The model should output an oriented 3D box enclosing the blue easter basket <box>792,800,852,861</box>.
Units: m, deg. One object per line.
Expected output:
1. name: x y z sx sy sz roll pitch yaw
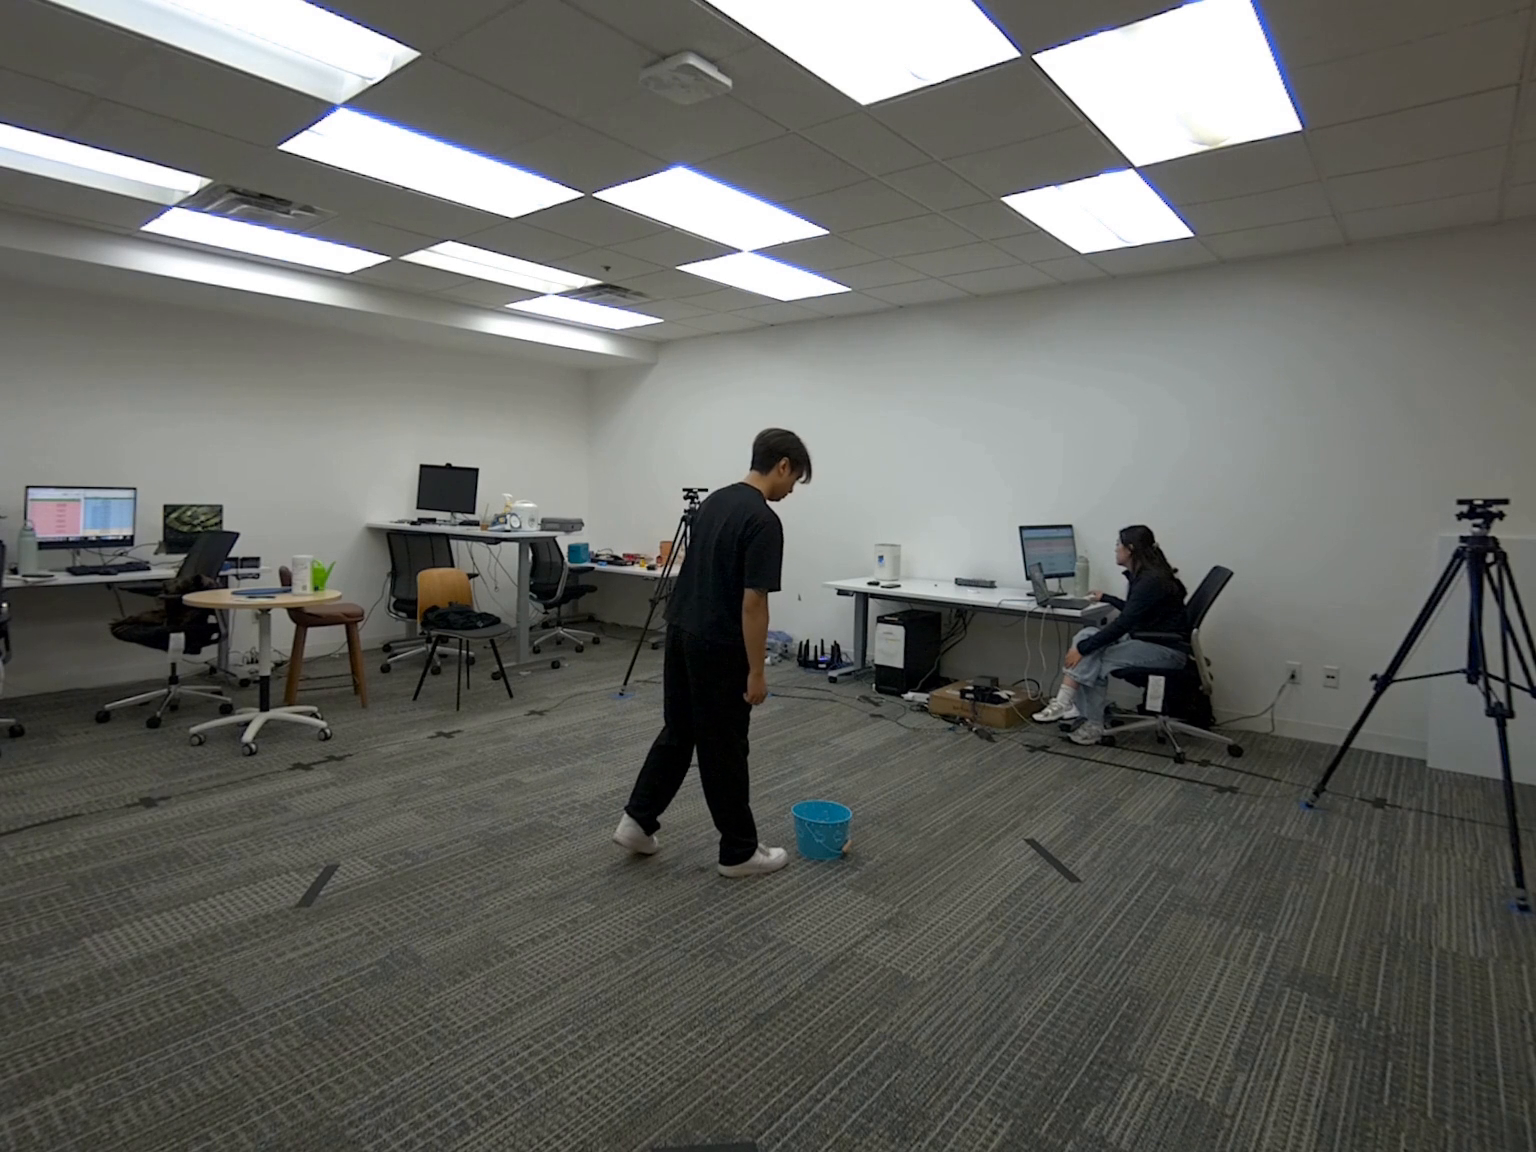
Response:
1. blue easter basket: 0.200 0.982 3.293 0.243 0.155 0.245 0 5 -2
